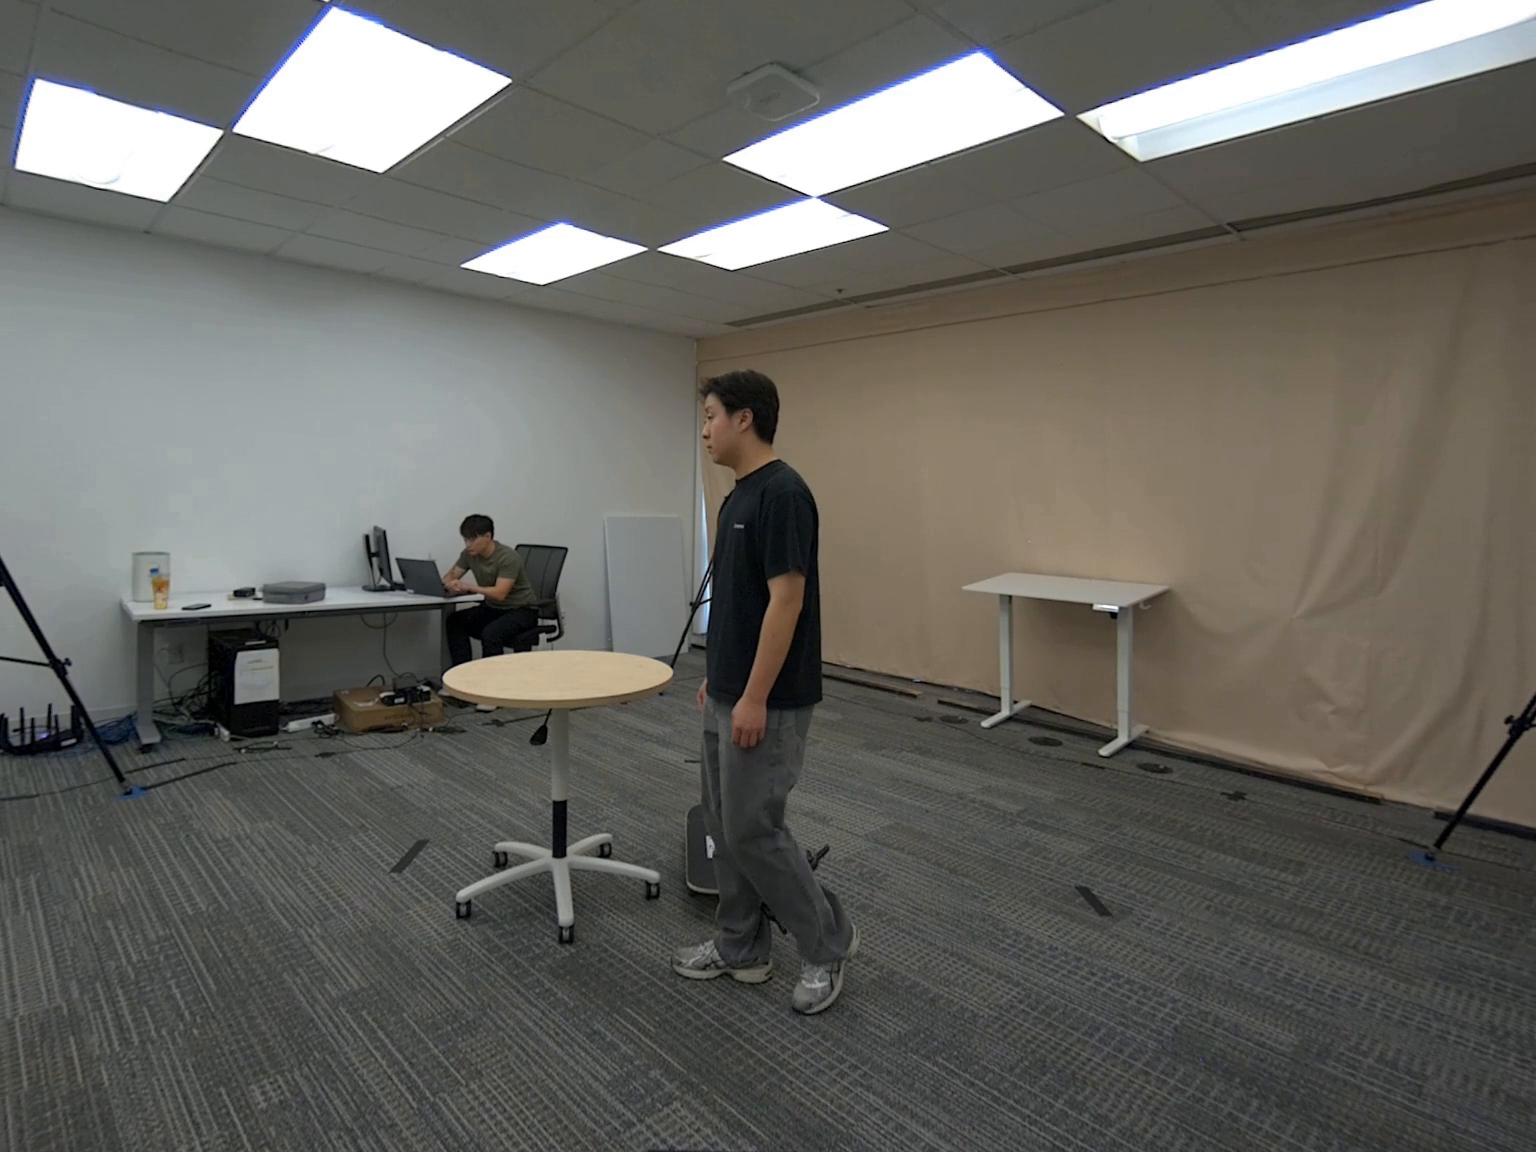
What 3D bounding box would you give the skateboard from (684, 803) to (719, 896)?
[{"bbox_3d":[-0.215,1.040,3.142,0.192,0.110,0.791,1,6,-6],"label":"skateboard"}]
